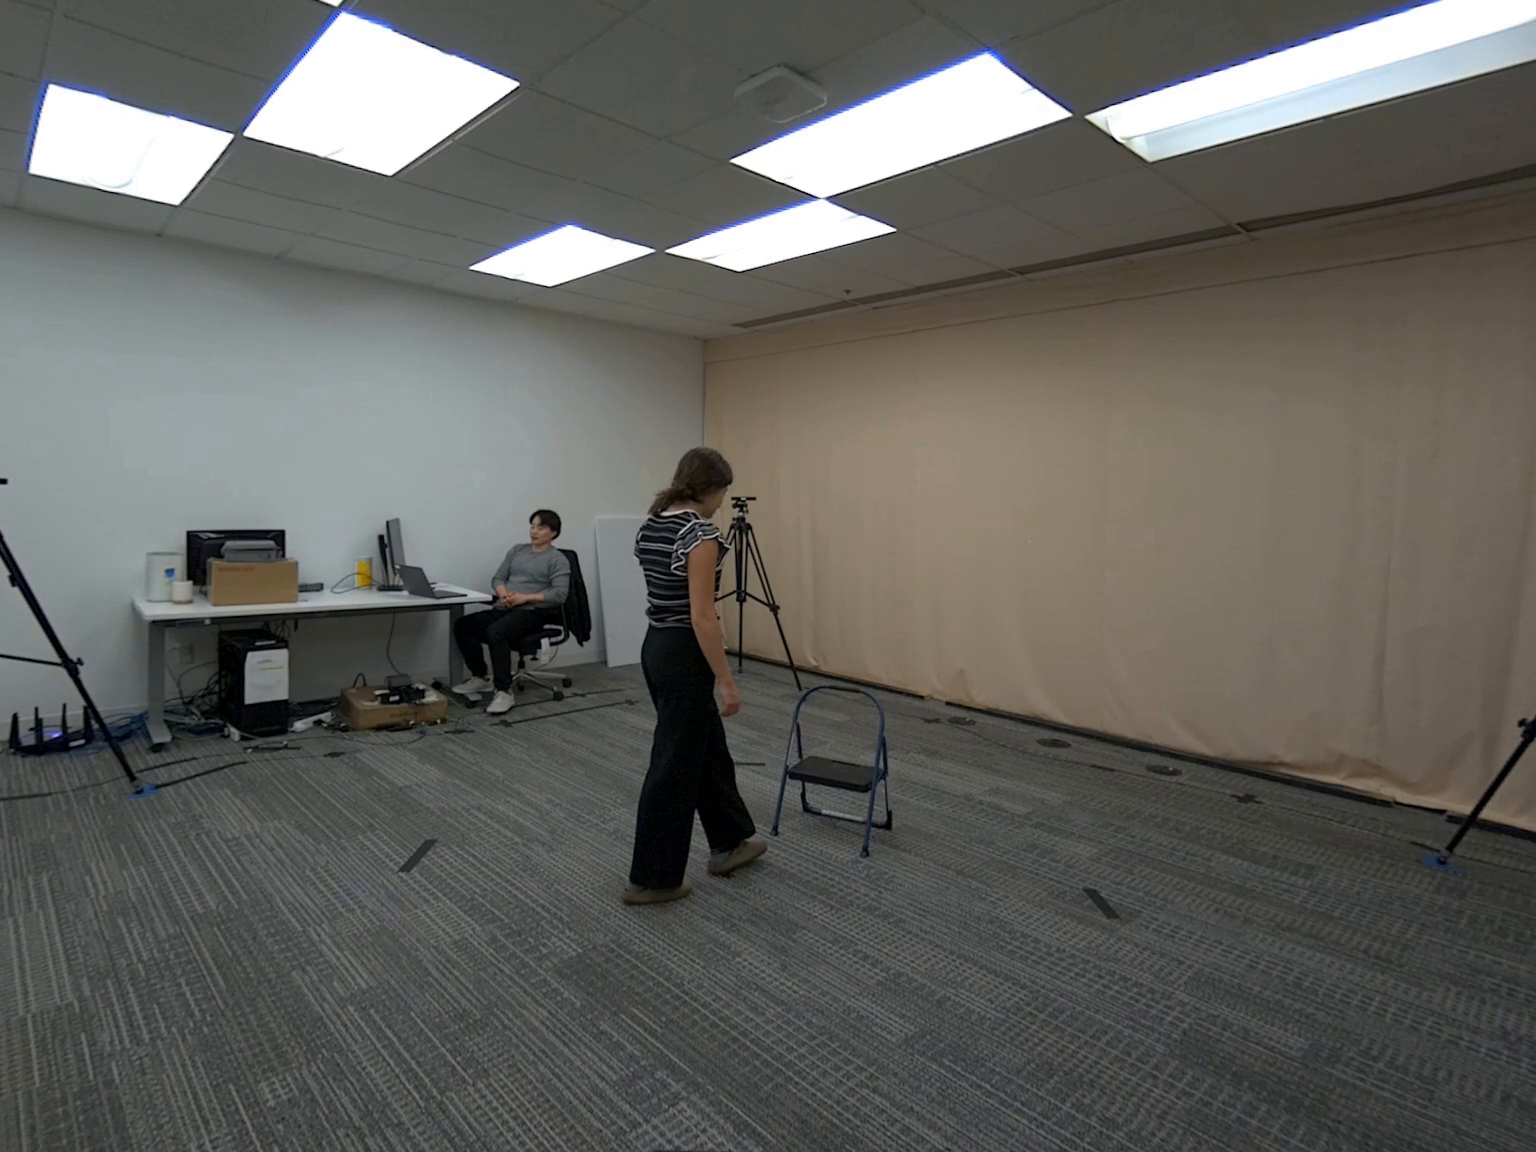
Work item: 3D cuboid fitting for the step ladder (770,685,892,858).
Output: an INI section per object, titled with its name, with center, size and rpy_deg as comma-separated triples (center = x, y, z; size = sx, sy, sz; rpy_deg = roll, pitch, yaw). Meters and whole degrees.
[step ladder]
center = 0.275, 0.779, 3.533
size = 0.439, 0.604, 0.343
rpy_deg = 4, 4, 27
